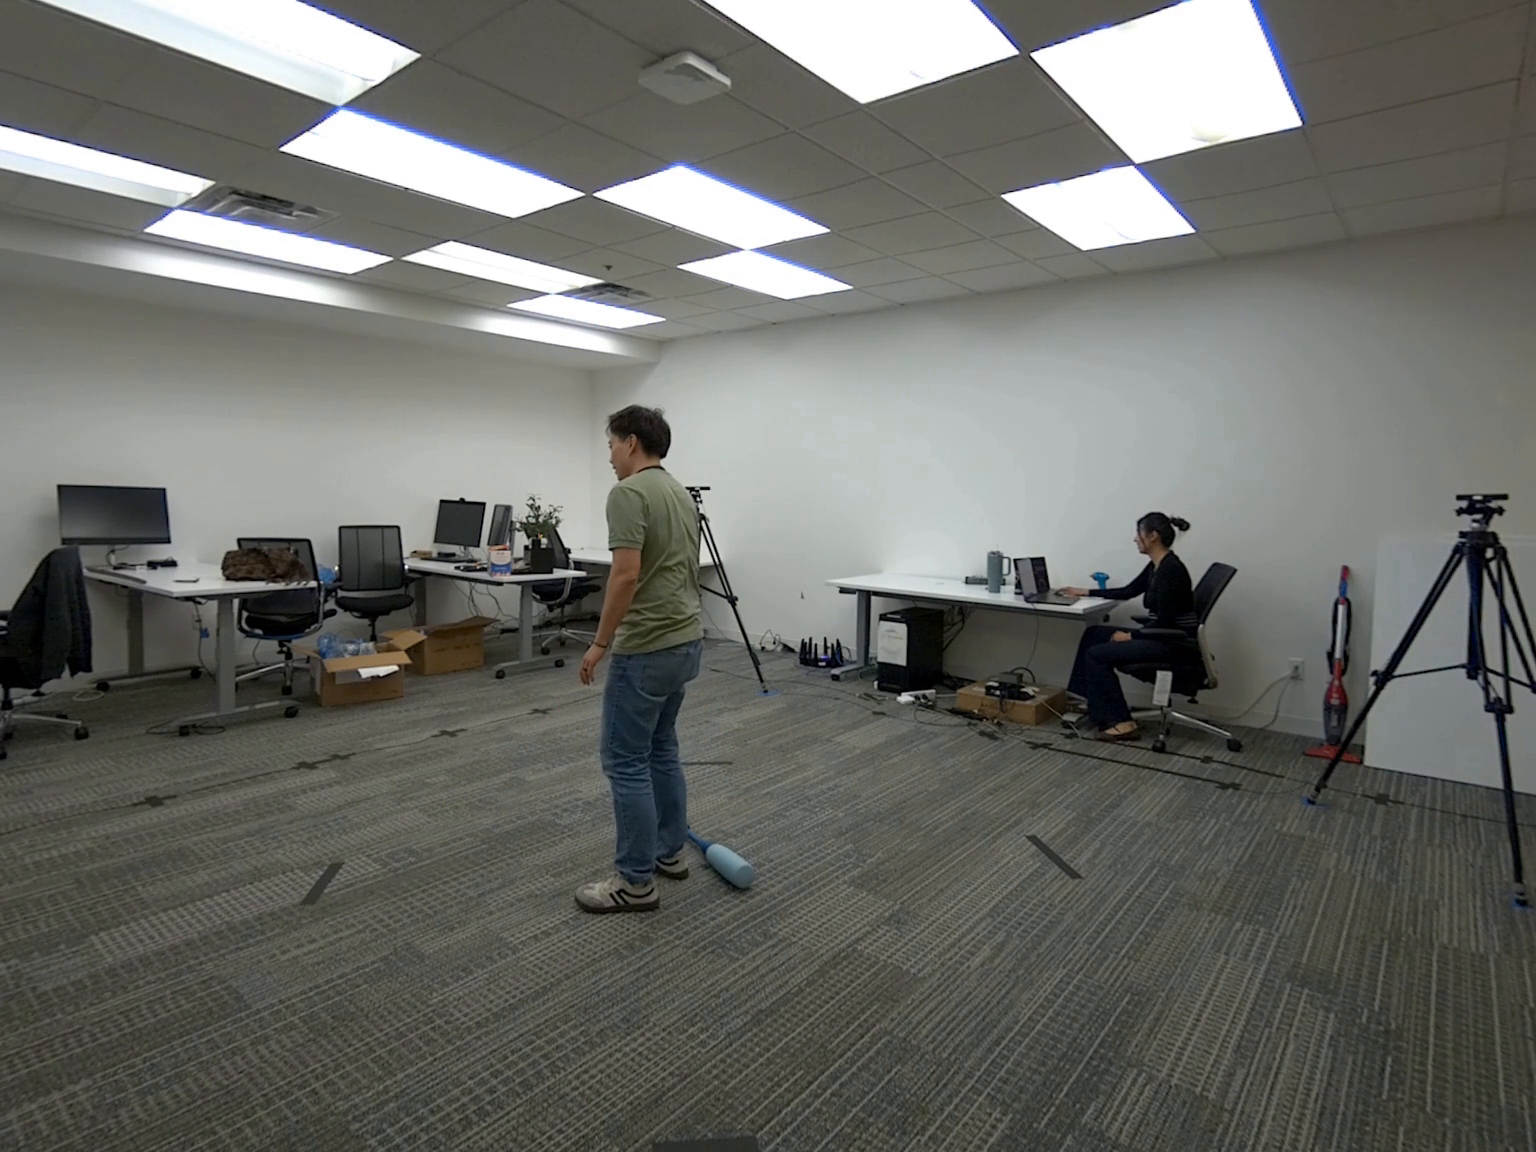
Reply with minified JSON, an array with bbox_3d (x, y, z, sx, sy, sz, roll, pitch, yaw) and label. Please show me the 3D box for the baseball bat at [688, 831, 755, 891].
[{"bbox_3d":[-0.226,1.021,3.158,0.087,0.089,0.555,-1,1,-25],"label":"baseball bat"}]
